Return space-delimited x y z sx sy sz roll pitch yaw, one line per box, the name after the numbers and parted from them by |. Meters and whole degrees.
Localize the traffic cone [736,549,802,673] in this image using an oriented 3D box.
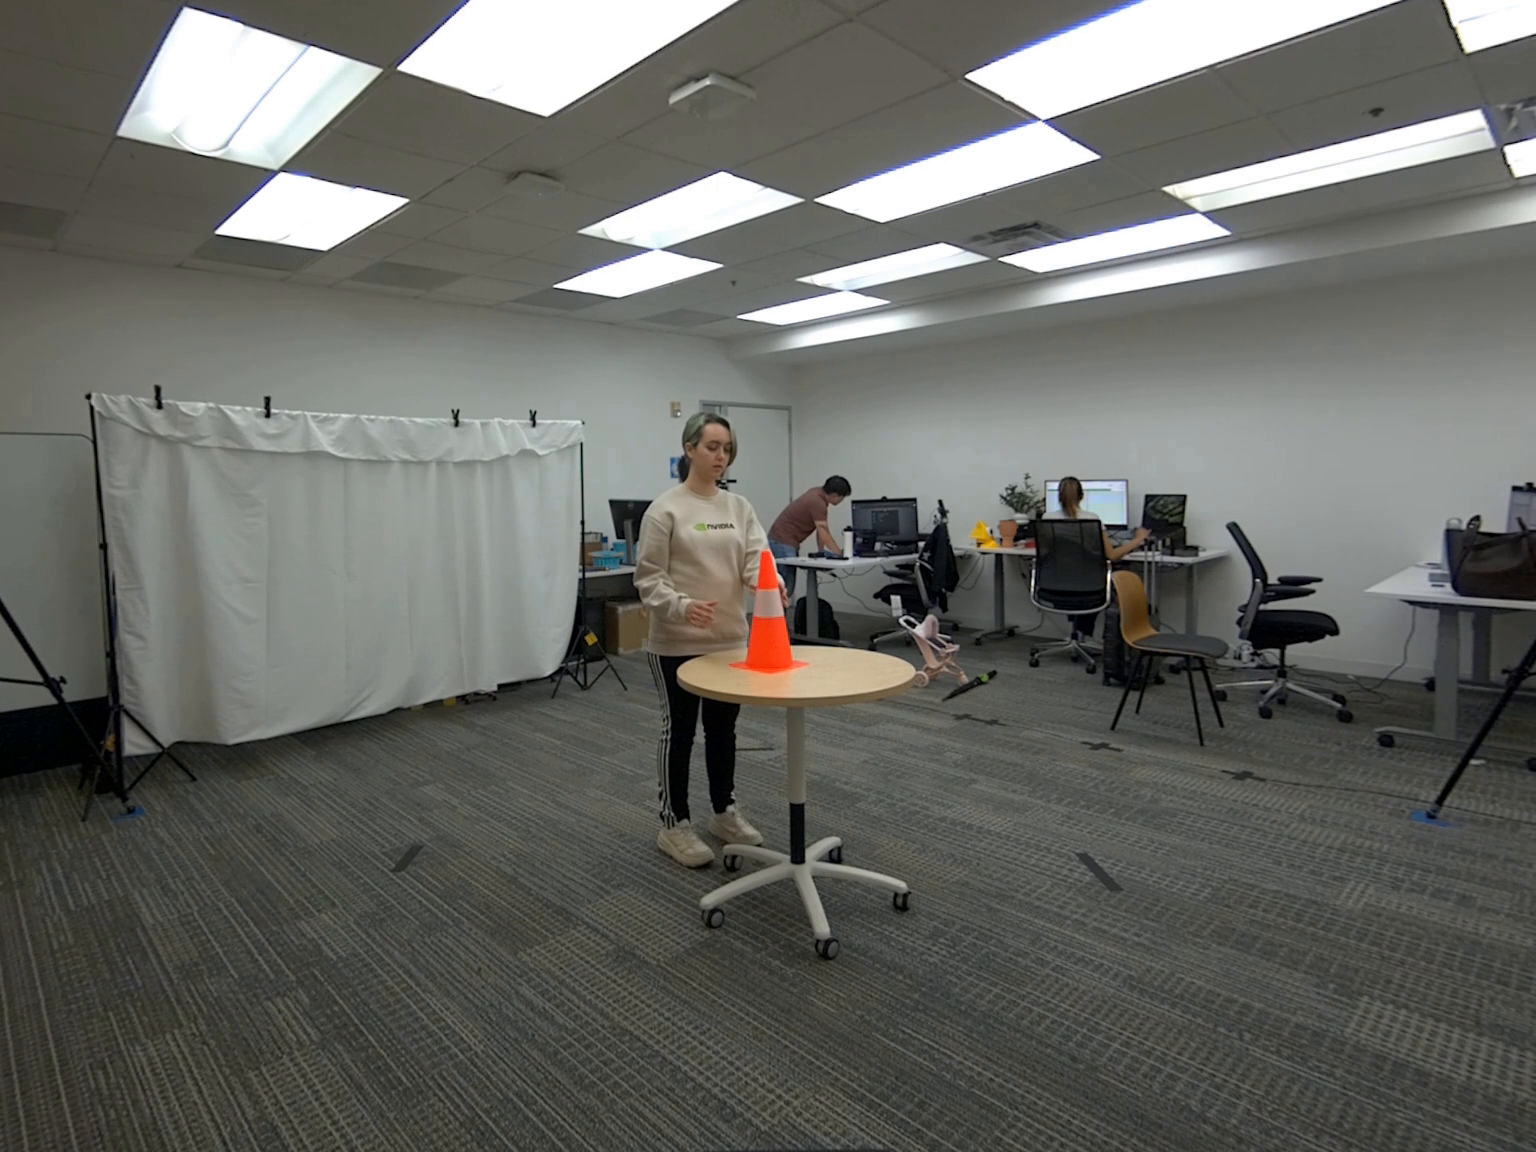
-0.002 0.113 2.813 0.209 0.382 0.200 1 6 40 | traffic cone
